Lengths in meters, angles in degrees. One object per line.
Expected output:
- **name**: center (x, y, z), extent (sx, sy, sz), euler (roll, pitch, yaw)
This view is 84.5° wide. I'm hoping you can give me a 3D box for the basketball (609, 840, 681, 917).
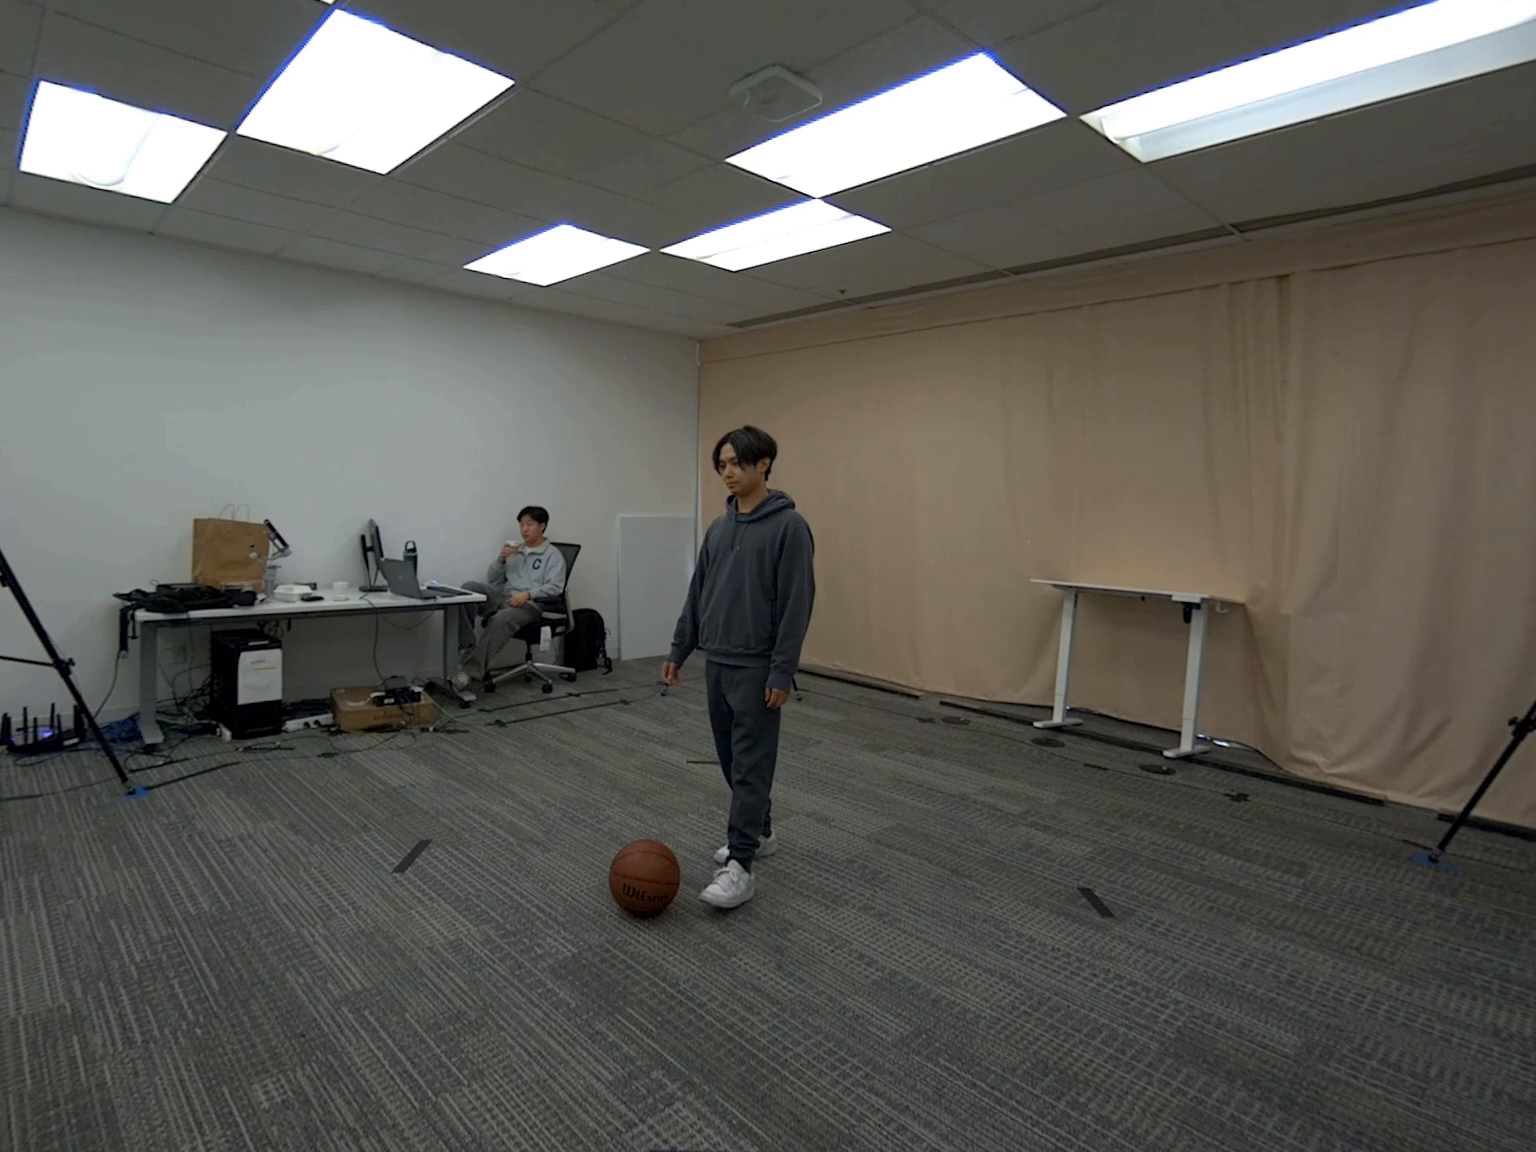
- **basketball**: center (-0.413, 1.004, 2.810), extent (0.236, 0.235, 0.237), euler (1, 4, -1)
